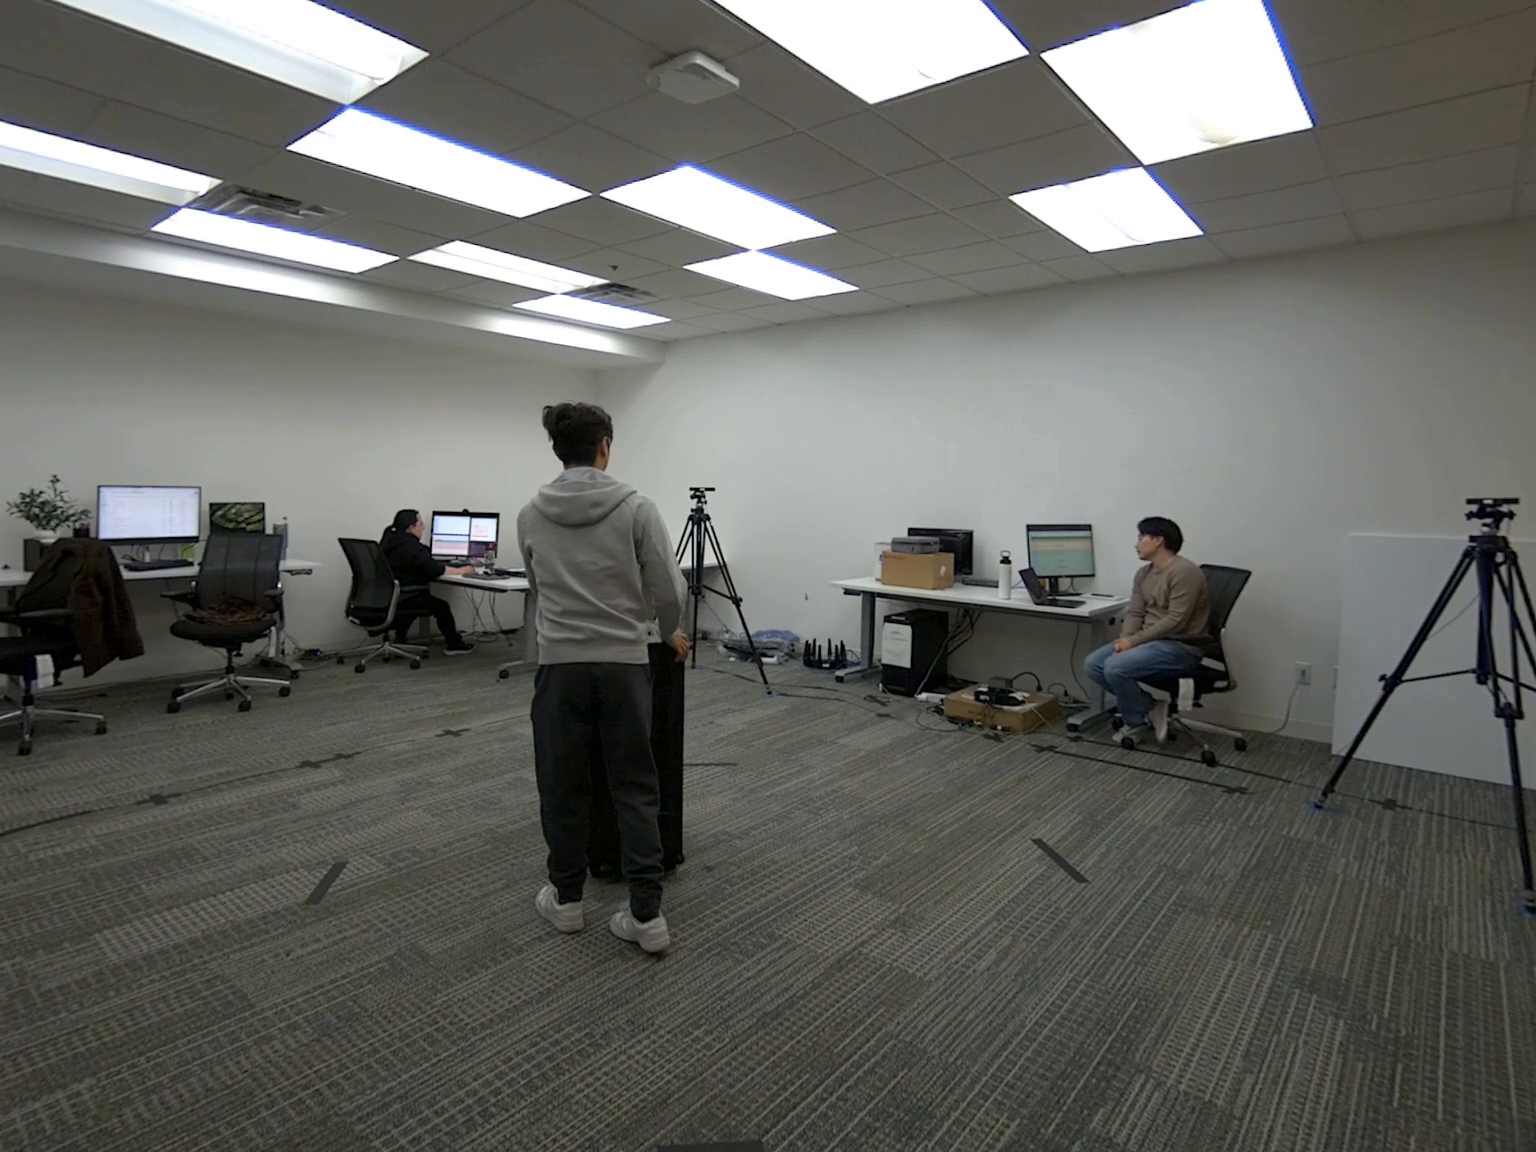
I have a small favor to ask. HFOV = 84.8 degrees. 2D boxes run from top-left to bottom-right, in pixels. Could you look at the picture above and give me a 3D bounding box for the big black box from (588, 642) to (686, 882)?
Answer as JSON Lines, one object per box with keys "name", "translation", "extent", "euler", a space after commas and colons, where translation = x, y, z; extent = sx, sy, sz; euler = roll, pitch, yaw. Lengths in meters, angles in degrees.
{"name": "big black box", "translation": [-0.520, 0.630, 3.178], "extent": [0.393, 0.859, 0.527], "euler": [0, 3, -8]}
